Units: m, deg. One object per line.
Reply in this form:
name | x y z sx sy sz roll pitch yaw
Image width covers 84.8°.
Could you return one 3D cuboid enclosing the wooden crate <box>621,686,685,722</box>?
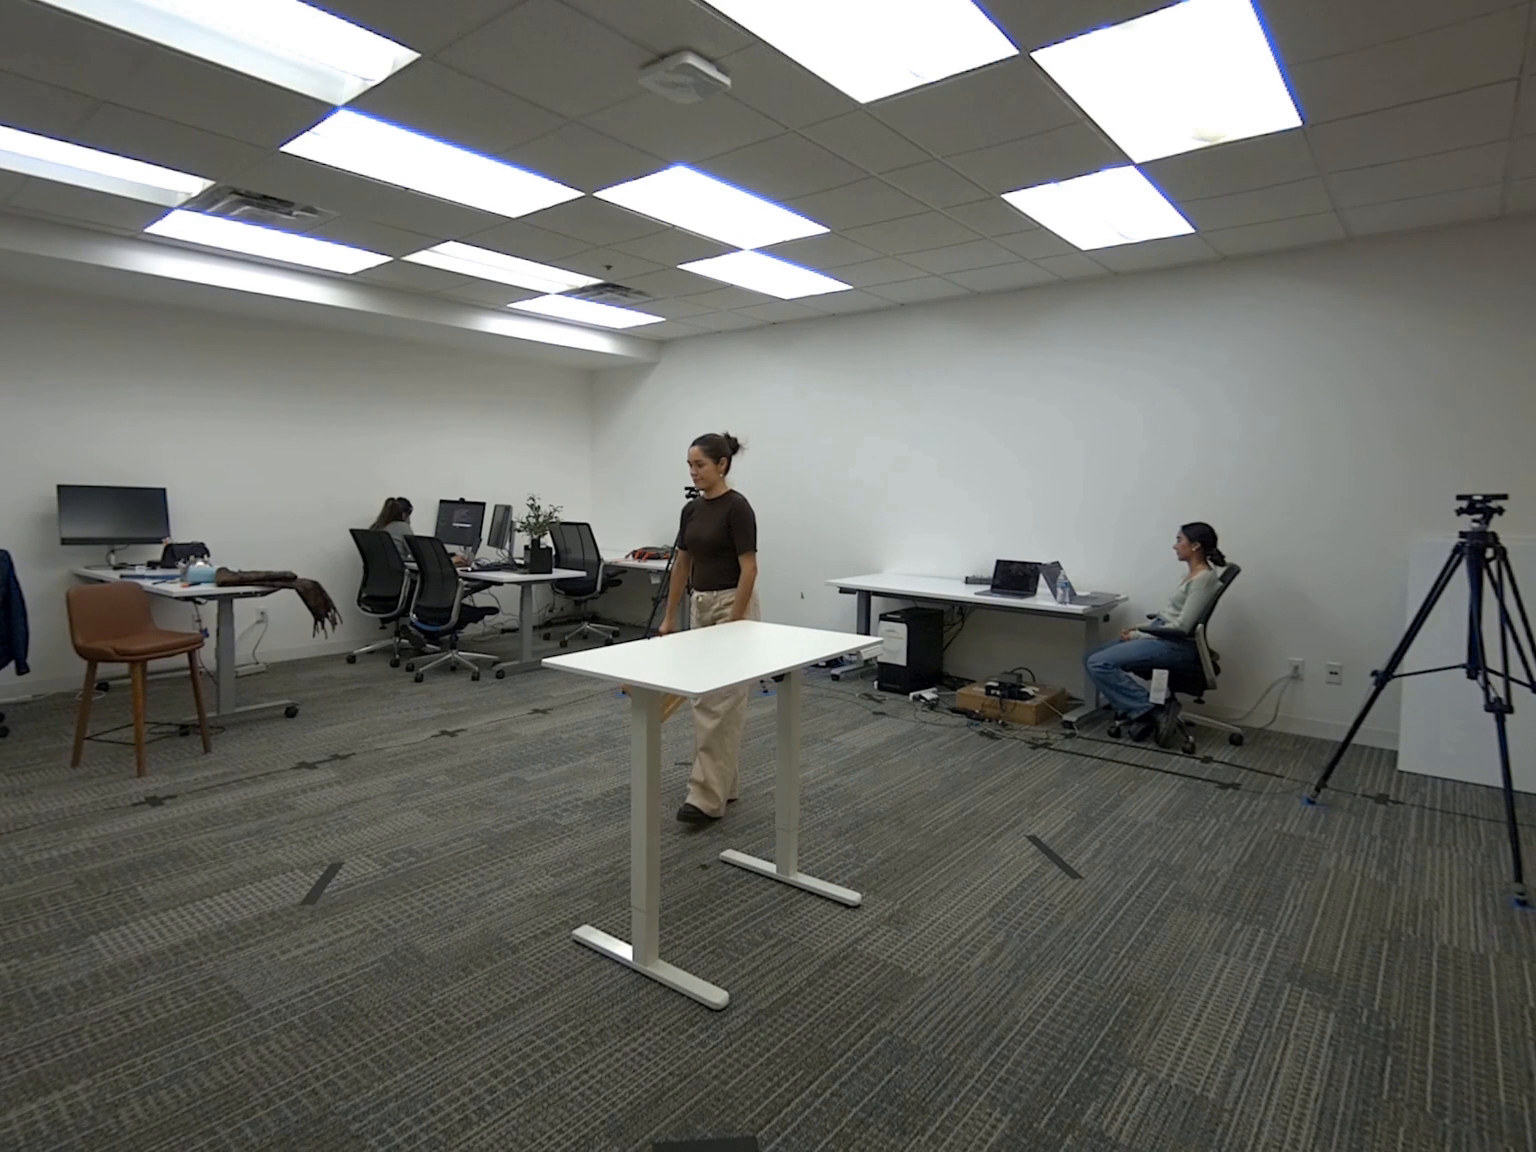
wooden crate | -0.492 0.459 3.955 0.271 0.324 0.304 45 -1 -6
